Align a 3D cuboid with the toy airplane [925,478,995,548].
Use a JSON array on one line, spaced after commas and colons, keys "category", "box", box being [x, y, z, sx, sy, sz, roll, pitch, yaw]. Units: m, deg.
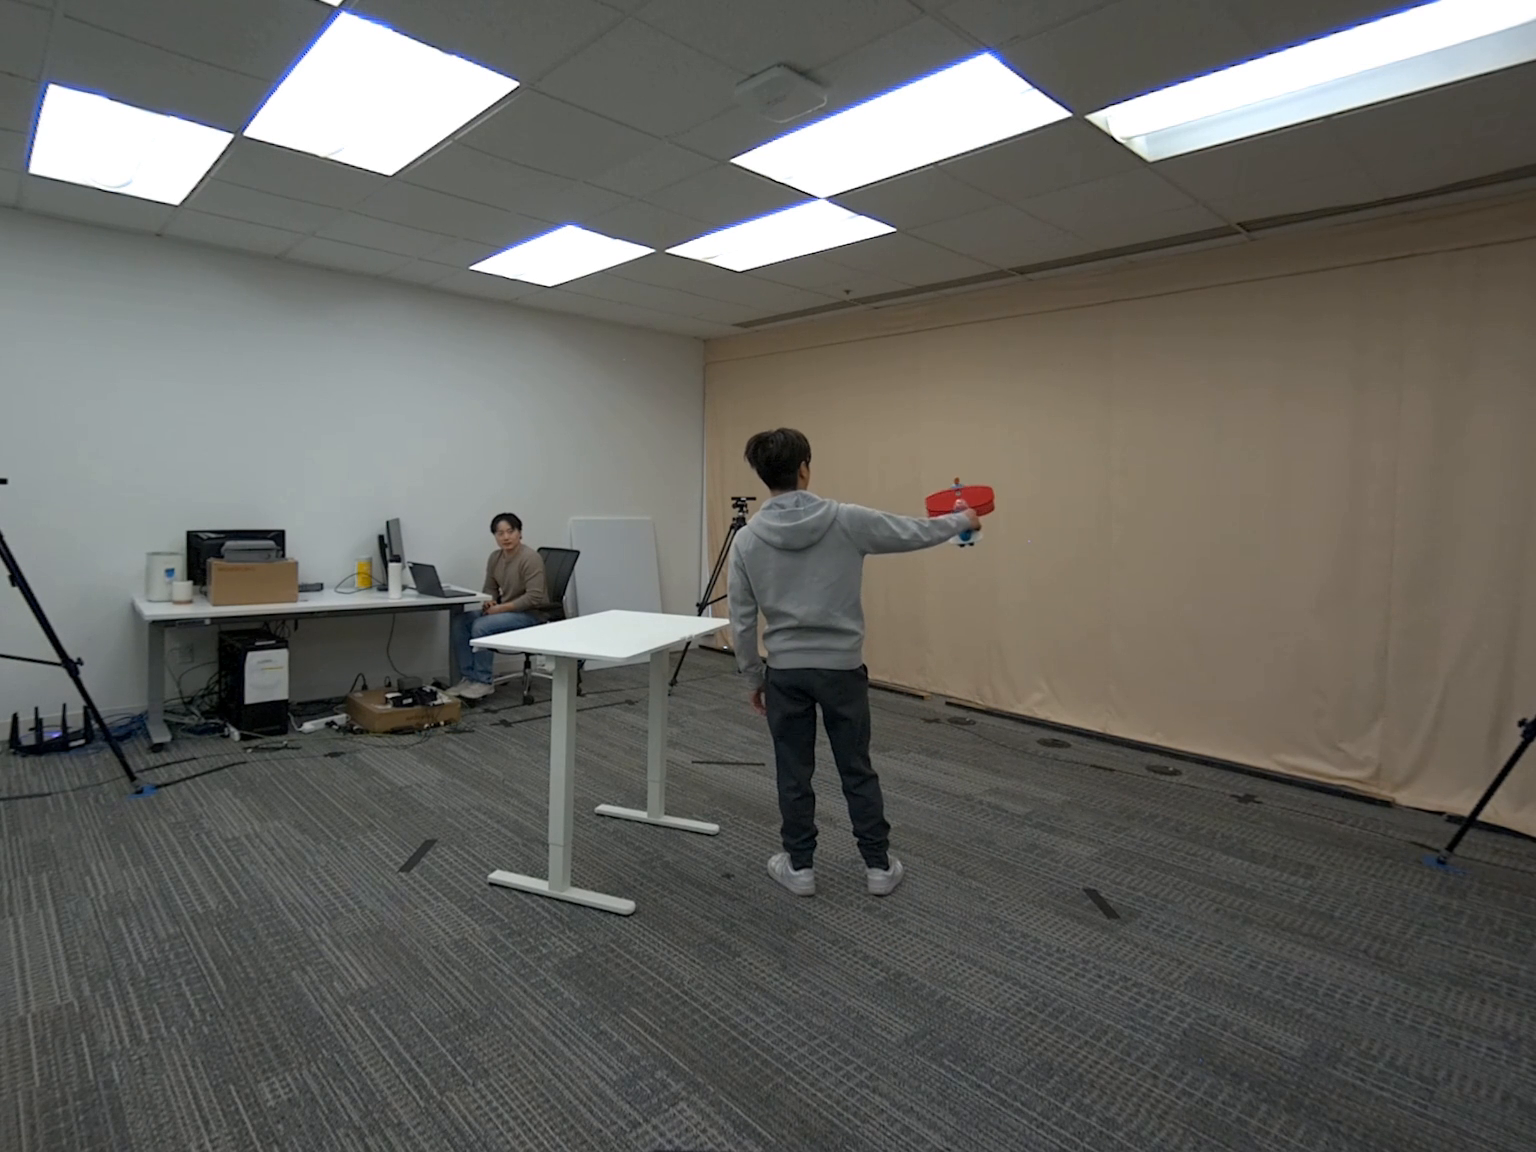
[{"category": "toy airplane", "box": [0.750, -0.235, 3.232, 0.250, 0.152, 0.267, -27, 45, -8]}]
